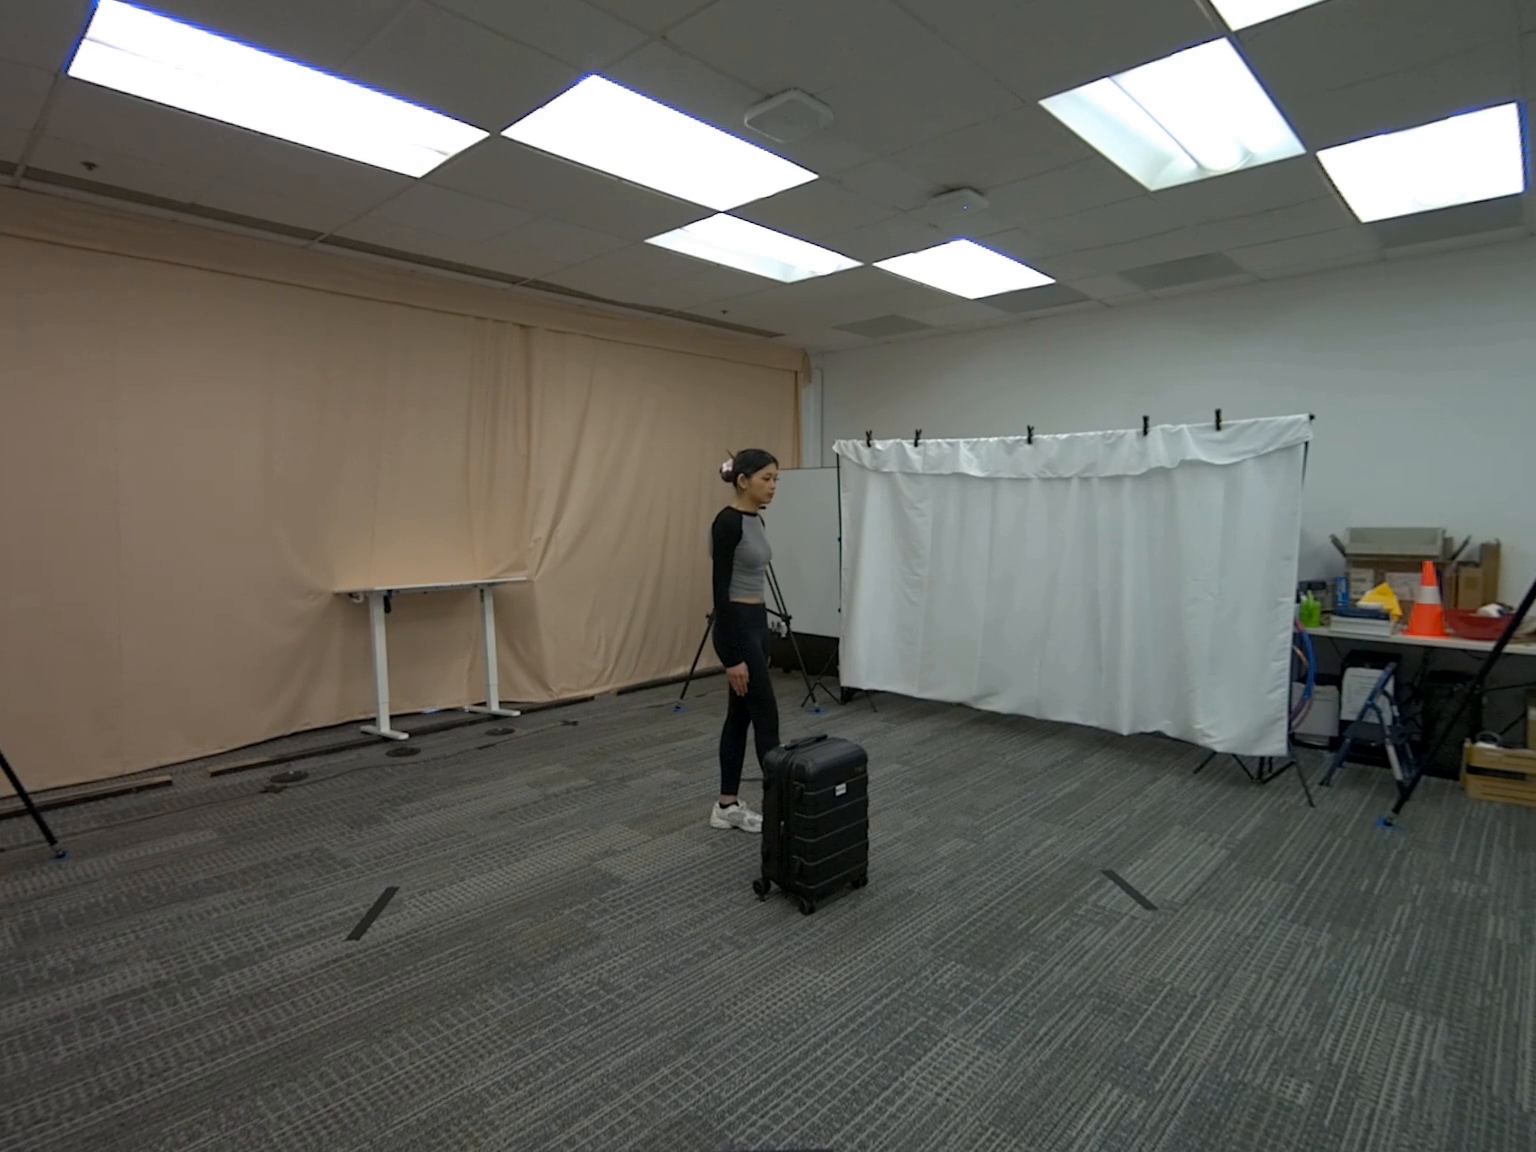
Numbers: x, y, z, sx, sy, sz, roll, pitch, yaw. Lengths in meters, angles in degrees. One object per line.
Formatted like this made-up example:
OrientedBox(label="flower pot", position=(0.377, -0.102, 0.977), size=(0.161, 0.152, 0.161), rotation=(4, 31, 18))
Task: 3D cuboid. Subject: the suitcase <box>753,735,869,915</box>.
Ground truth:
OrientedBox(label="suitcase", position=(0.175, 0.864, 3.025), size=(0.364, 0.548, 0.257), rotation=(-3, 7, -45))
